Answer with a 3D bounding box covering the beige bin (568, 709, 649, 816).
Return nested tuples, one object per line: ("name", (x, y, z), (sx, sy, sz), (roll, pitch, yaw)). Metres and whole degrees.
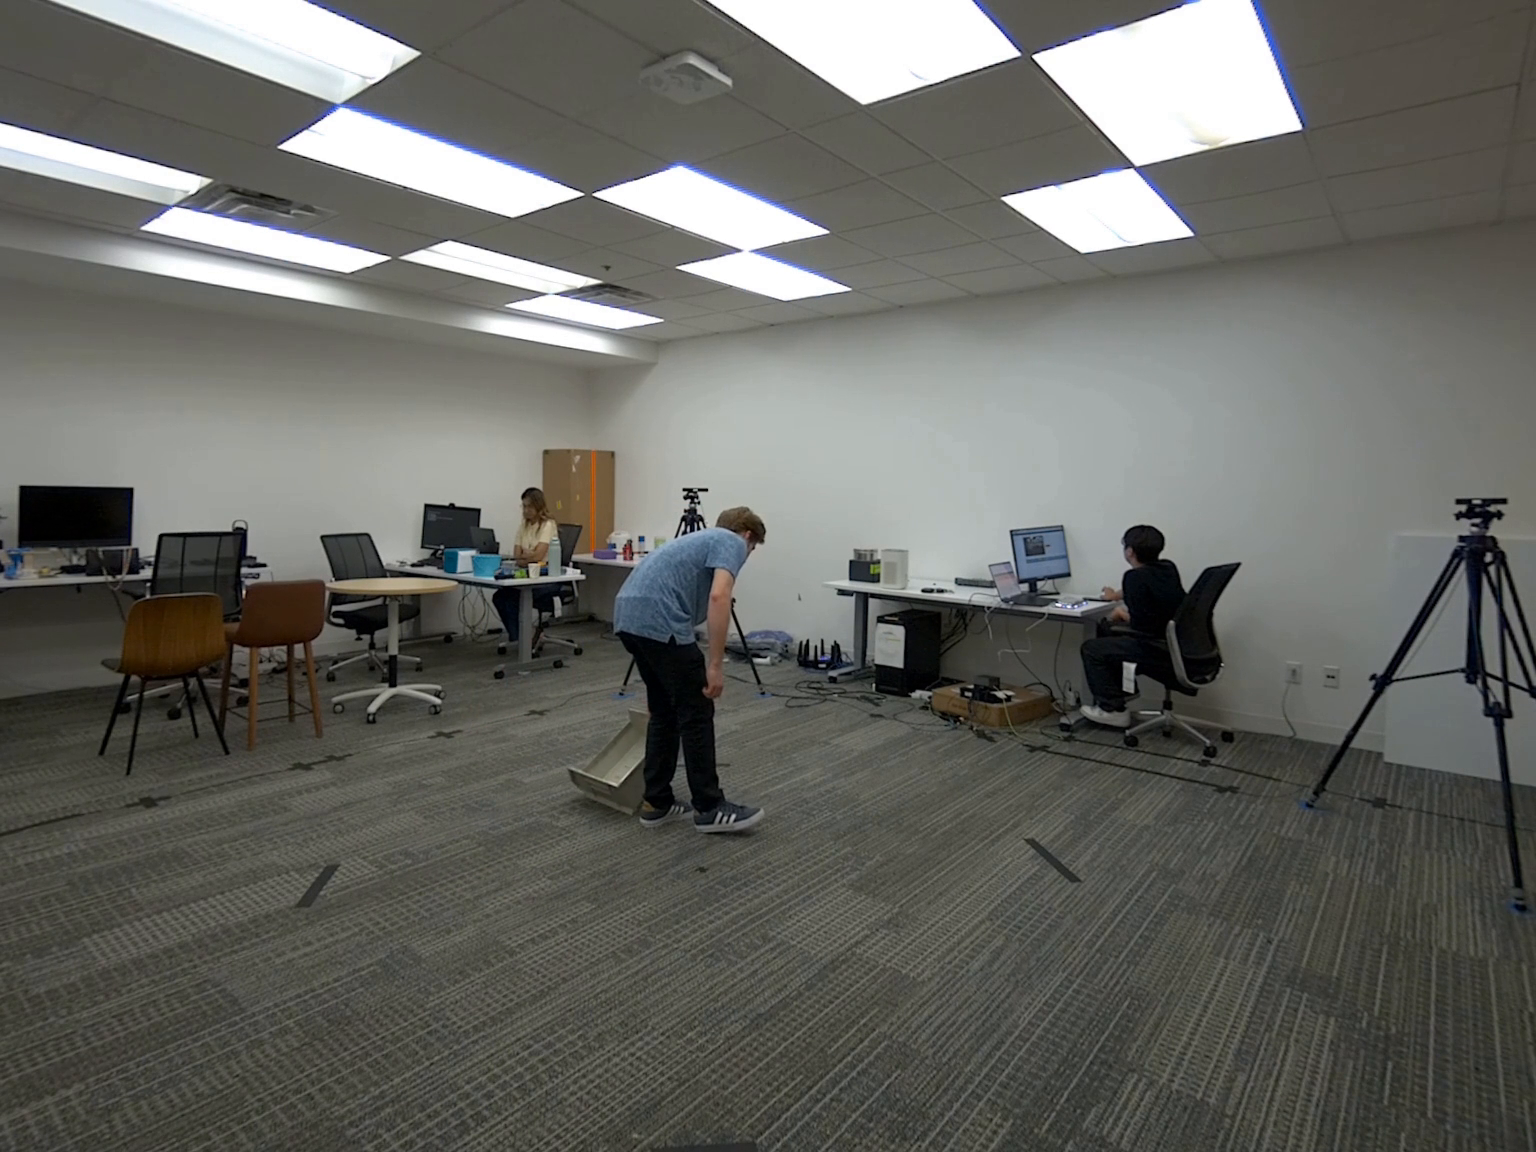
("beige bin", (-0.645, 0.814, 3.822), (0.390, 0.183, 0.421), (6, 37, 40))
